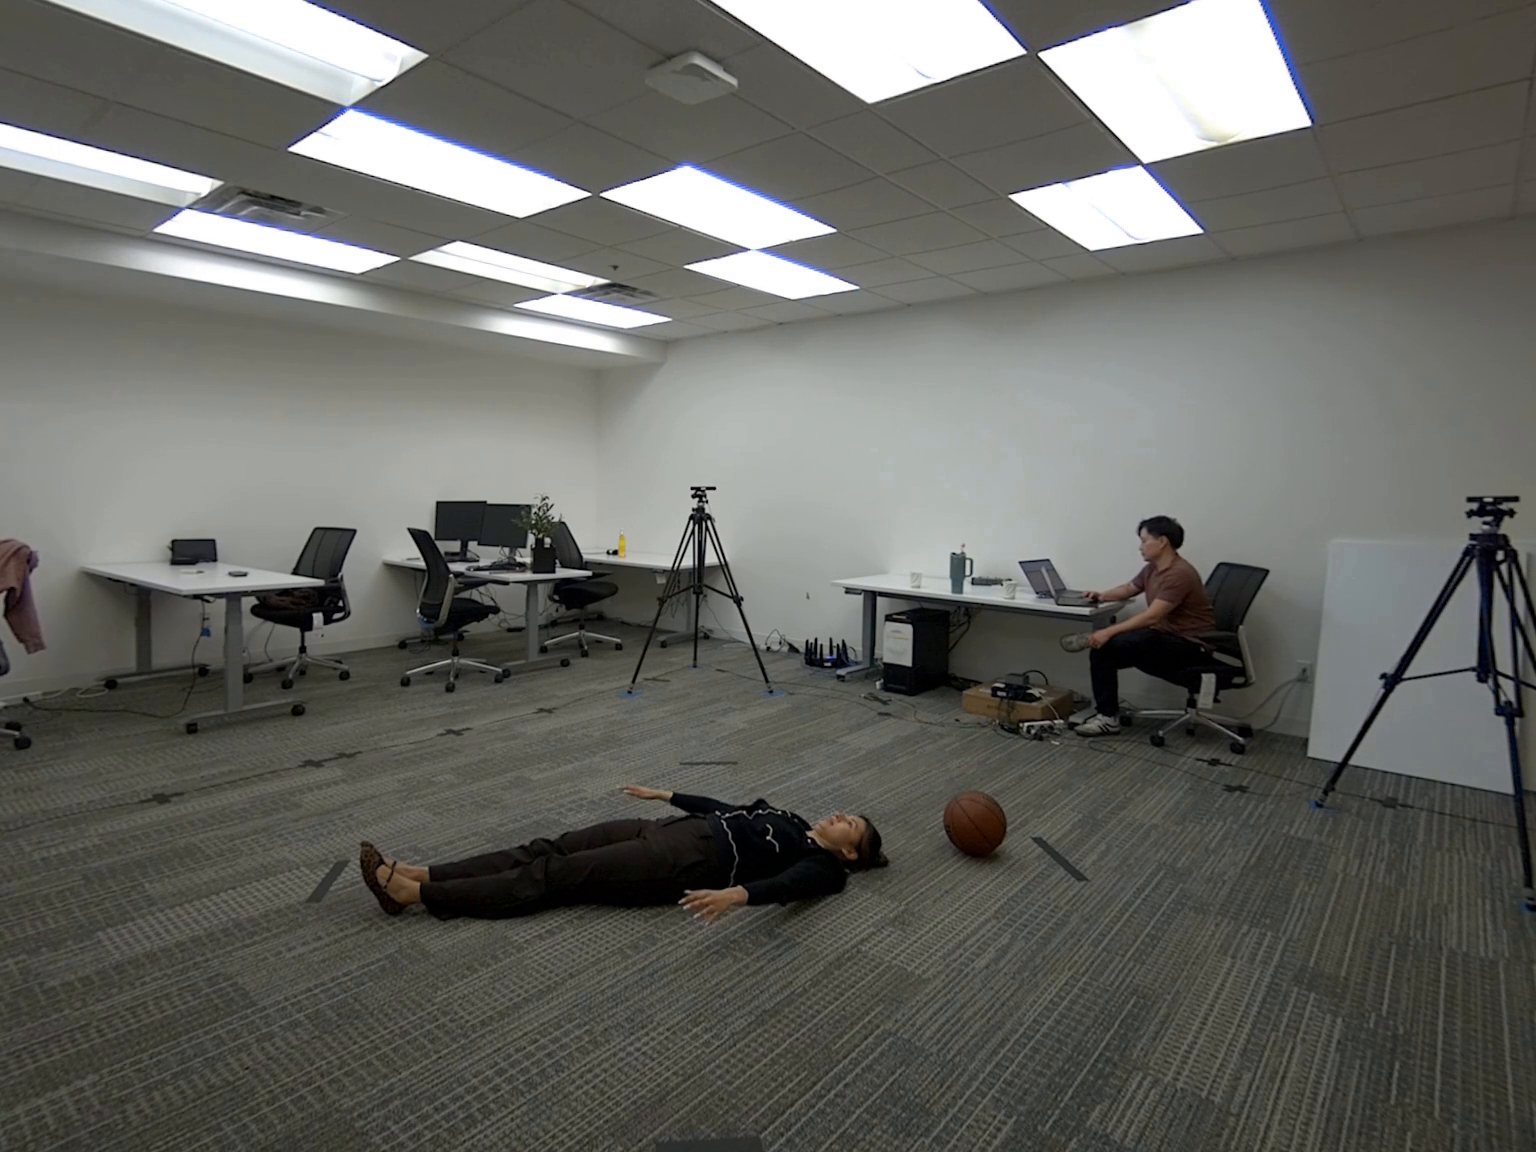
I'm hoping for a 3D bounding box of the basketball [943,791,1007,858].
[{"bbox_3d":[0.790,0.947,3.296,0.236,0.235,0.237,1,4,-2],"label":"basketball"}]
